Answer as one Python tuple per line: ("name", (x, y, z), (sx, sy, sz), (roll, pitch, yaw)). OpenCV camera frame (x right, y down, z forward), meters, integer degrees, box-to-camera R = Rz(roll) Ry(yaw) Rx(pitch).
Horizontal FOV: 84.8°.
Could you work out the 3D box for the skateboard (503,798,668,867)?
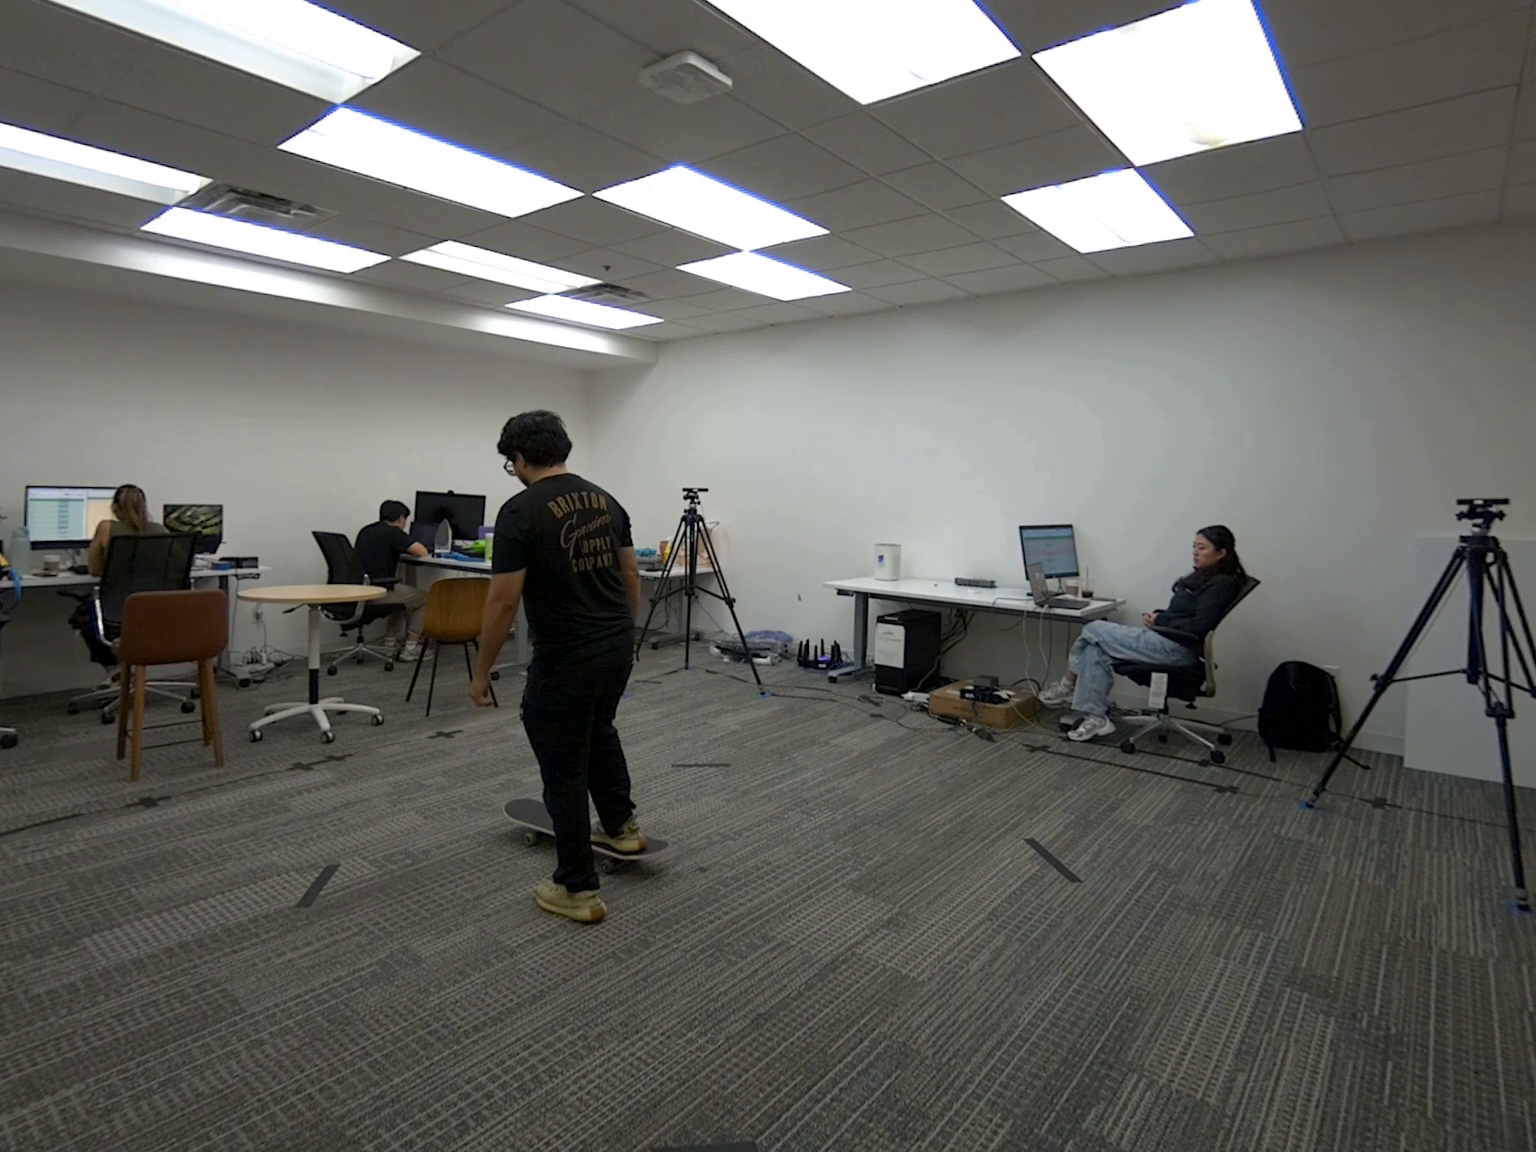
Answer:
("skateboard", (-0.721, 0.993, 3.240), (0.810, 0.110, 0.188), (5, 6, 32))
